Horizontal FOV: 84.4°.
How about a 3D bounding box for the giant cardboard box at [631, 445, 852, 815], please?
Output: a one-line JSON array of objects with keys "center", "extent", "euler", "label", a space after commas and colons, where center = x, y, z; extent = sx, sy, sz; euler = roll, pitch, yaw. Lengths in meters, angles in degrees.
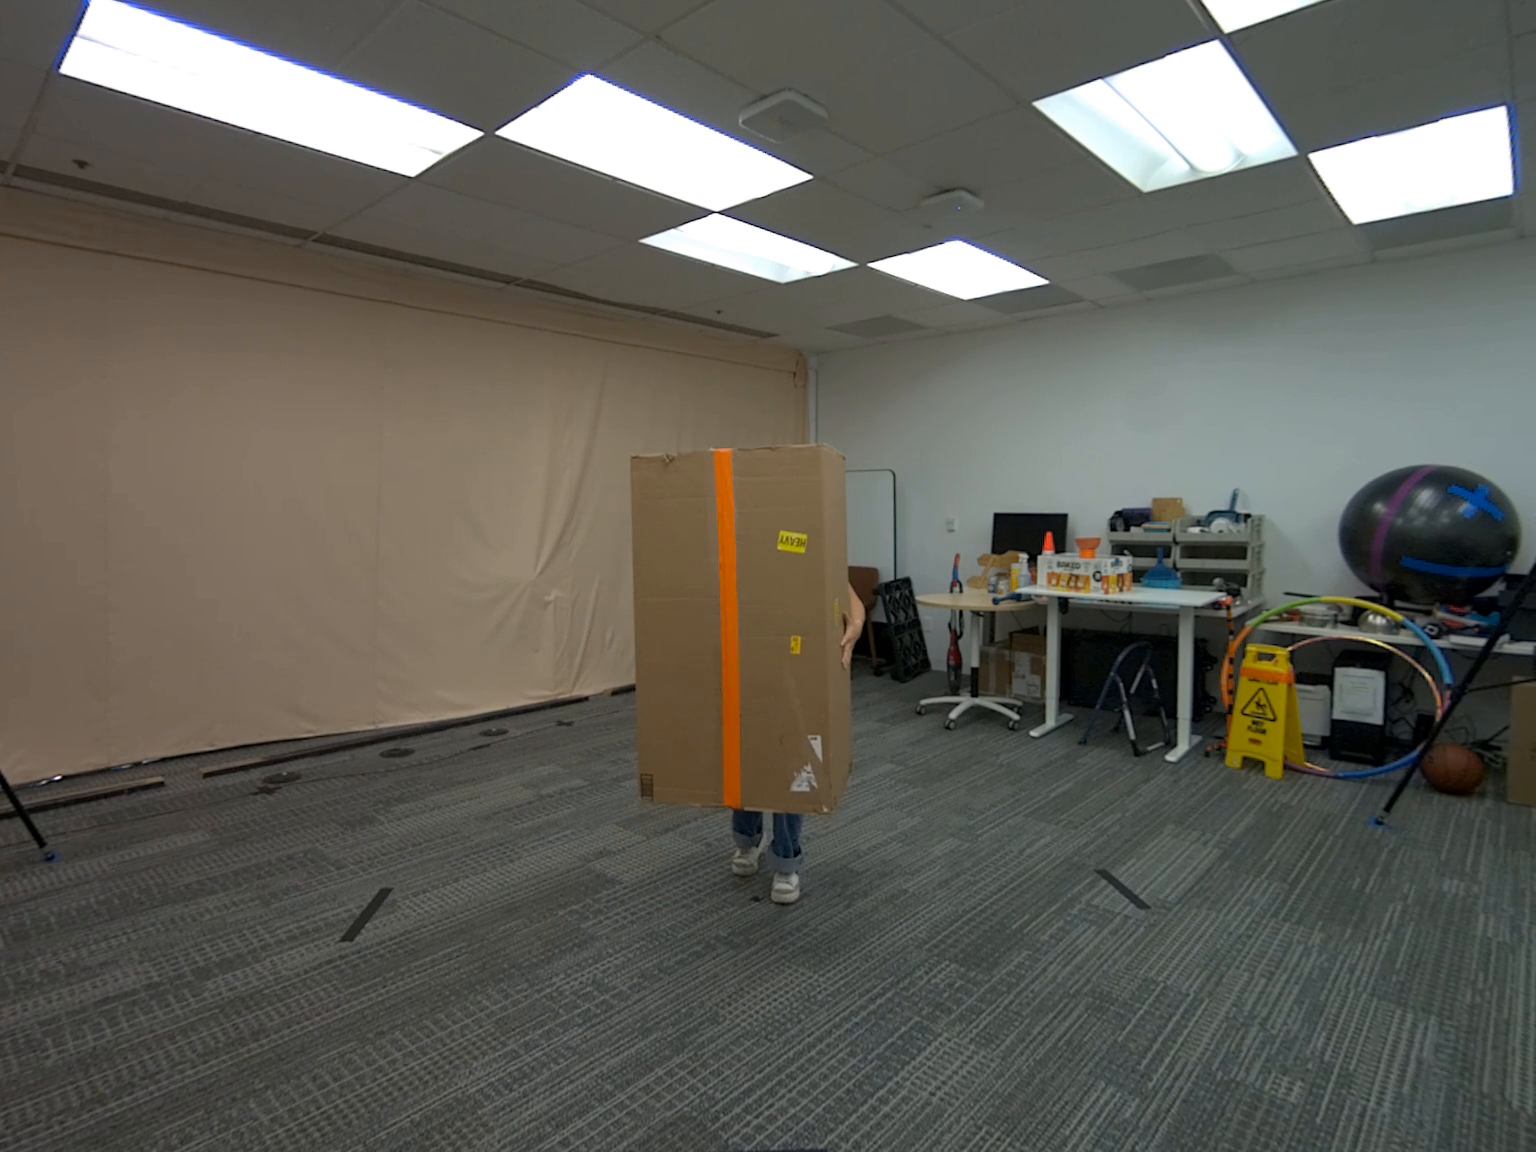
[{"center": [-0.065, 0.148, 2.579], "extent": [0.587, 1.025, 0.419], "euler": [-1, 1, 15], "label": "giant cardboard box"}]
